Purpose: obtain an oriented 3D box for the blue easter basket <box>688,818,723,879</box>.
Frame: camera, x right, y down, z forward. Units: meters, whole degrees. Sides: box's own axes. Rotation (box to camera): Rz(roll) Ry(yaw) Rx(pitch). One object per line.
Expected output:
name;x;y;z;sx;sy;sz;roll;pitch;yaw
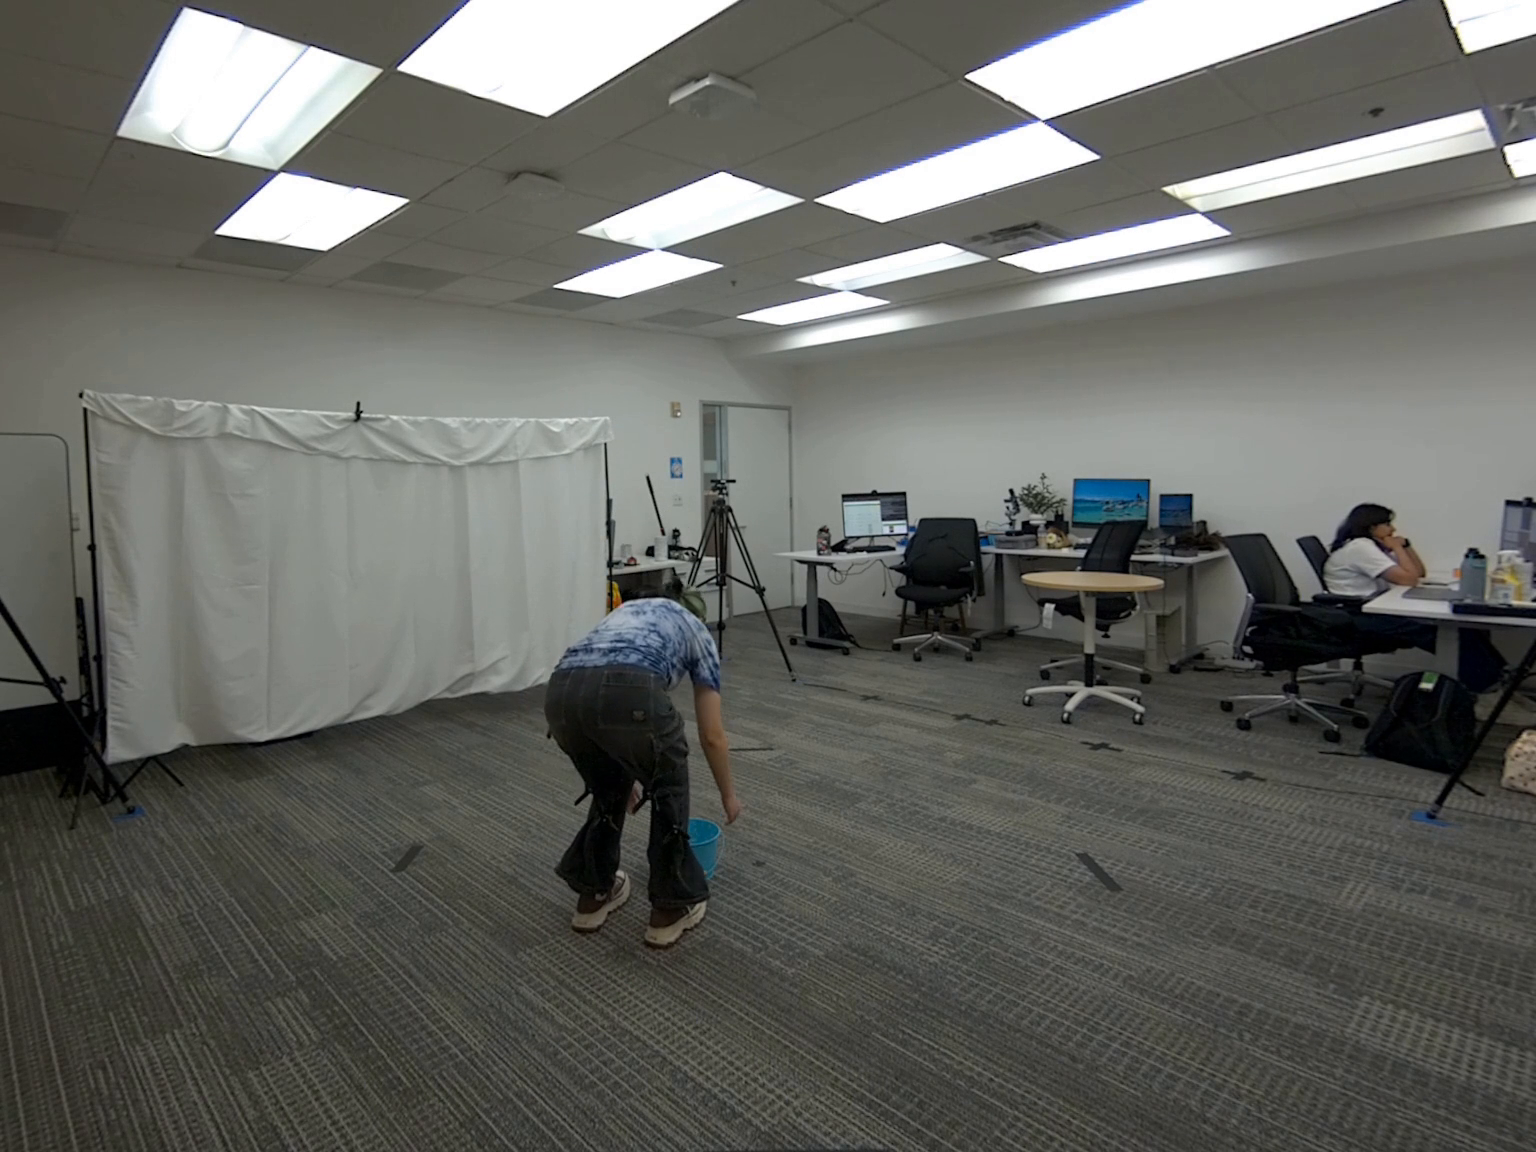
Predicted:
blue easter basket;-0.285;0.980;3.041;0.243;0.155;0.245;-1;5;-2
